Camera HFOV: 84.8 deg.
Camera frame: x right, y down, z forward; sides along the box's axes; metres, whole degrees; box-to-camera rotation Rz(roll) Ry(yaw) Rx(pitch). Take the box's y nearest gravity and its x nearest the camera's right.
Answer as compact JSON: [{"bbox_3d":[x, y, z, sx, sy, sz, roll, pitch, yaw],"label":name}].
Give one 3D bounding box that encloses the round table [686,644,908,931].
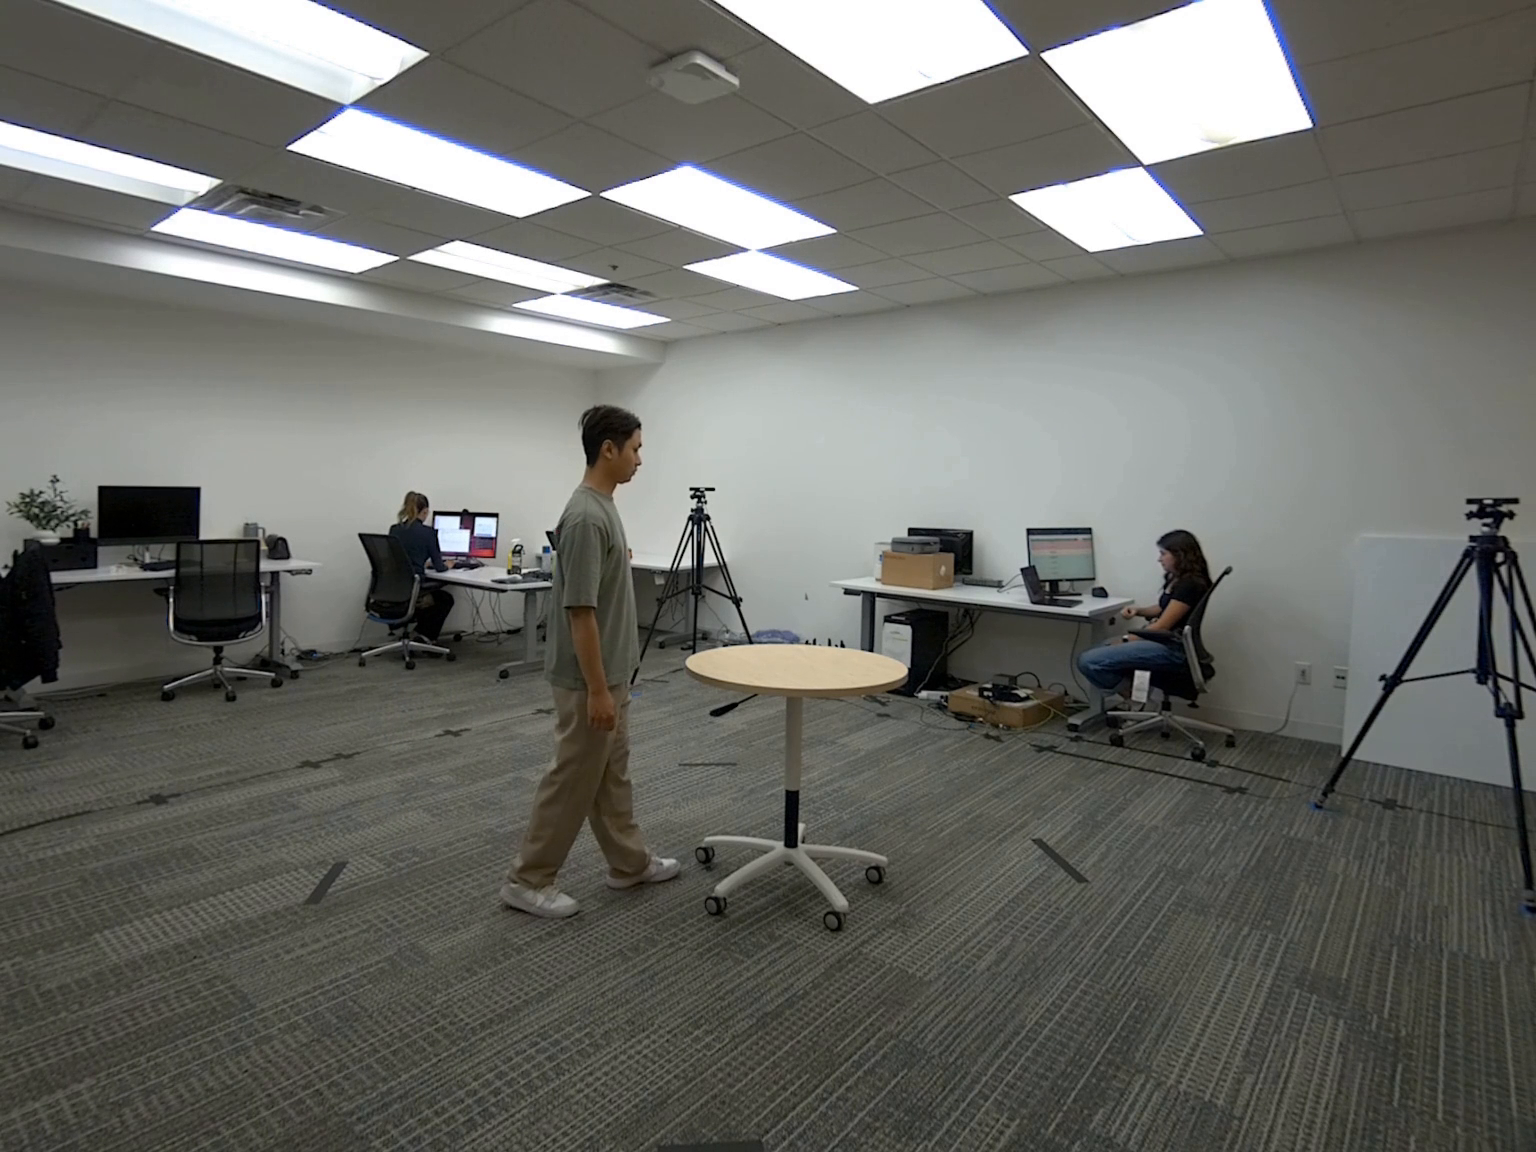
[{"bbox_3d":[0.084,0.693,2.990,0.784,0.784,0.789,1,4,-2],"label":"round table"}]
